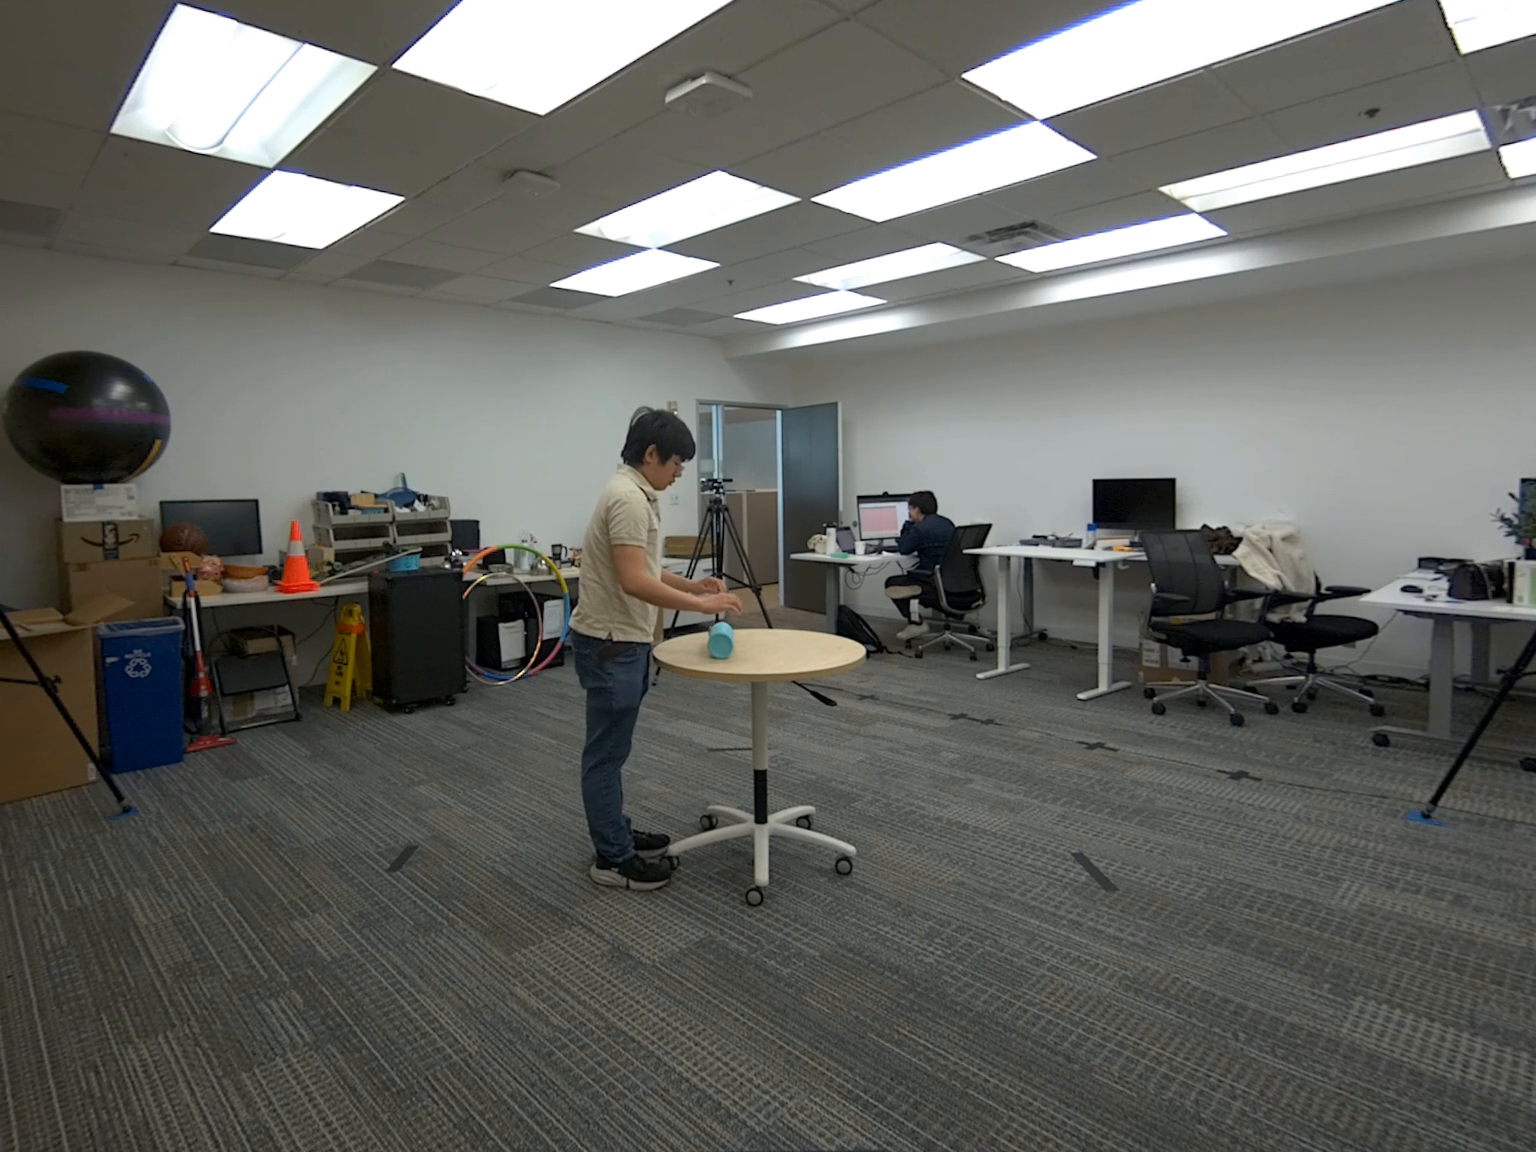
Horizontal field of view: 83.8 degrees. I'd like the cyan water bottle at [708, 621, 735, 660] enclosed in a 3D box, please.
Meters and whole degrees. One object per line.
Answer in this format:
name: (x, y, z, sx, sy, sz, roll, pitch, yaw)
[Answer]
cyan water bottle: (-0.169, 0.219, 3.052, 0.092, 0.092, 0.285, -1, 7, -3)
